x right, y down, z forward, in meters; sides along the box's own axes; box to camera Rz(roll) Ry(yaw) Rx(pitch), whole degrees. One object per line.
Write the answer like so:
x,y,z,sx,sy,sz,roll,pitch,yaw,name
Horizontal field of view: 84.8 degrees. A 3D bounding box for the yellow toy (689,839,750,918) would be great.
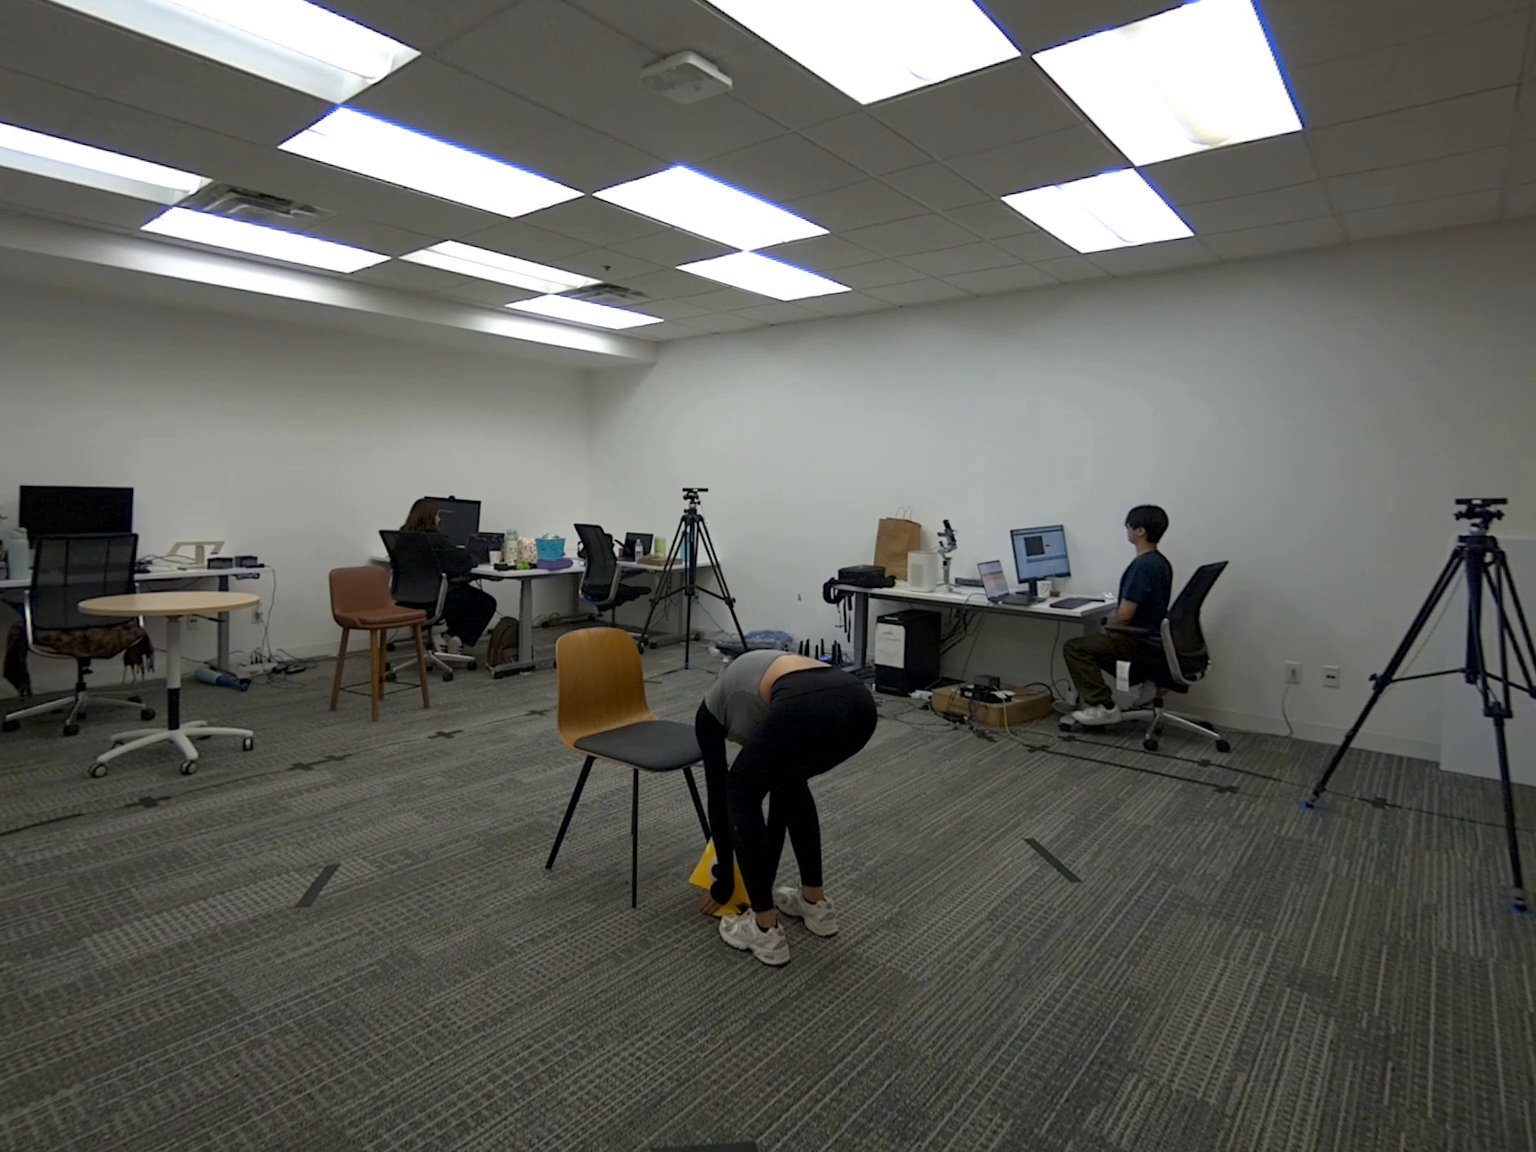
-0.141,0.978,2.848,0.199,0.231,0.198,-4,-3,41,yellow toy
